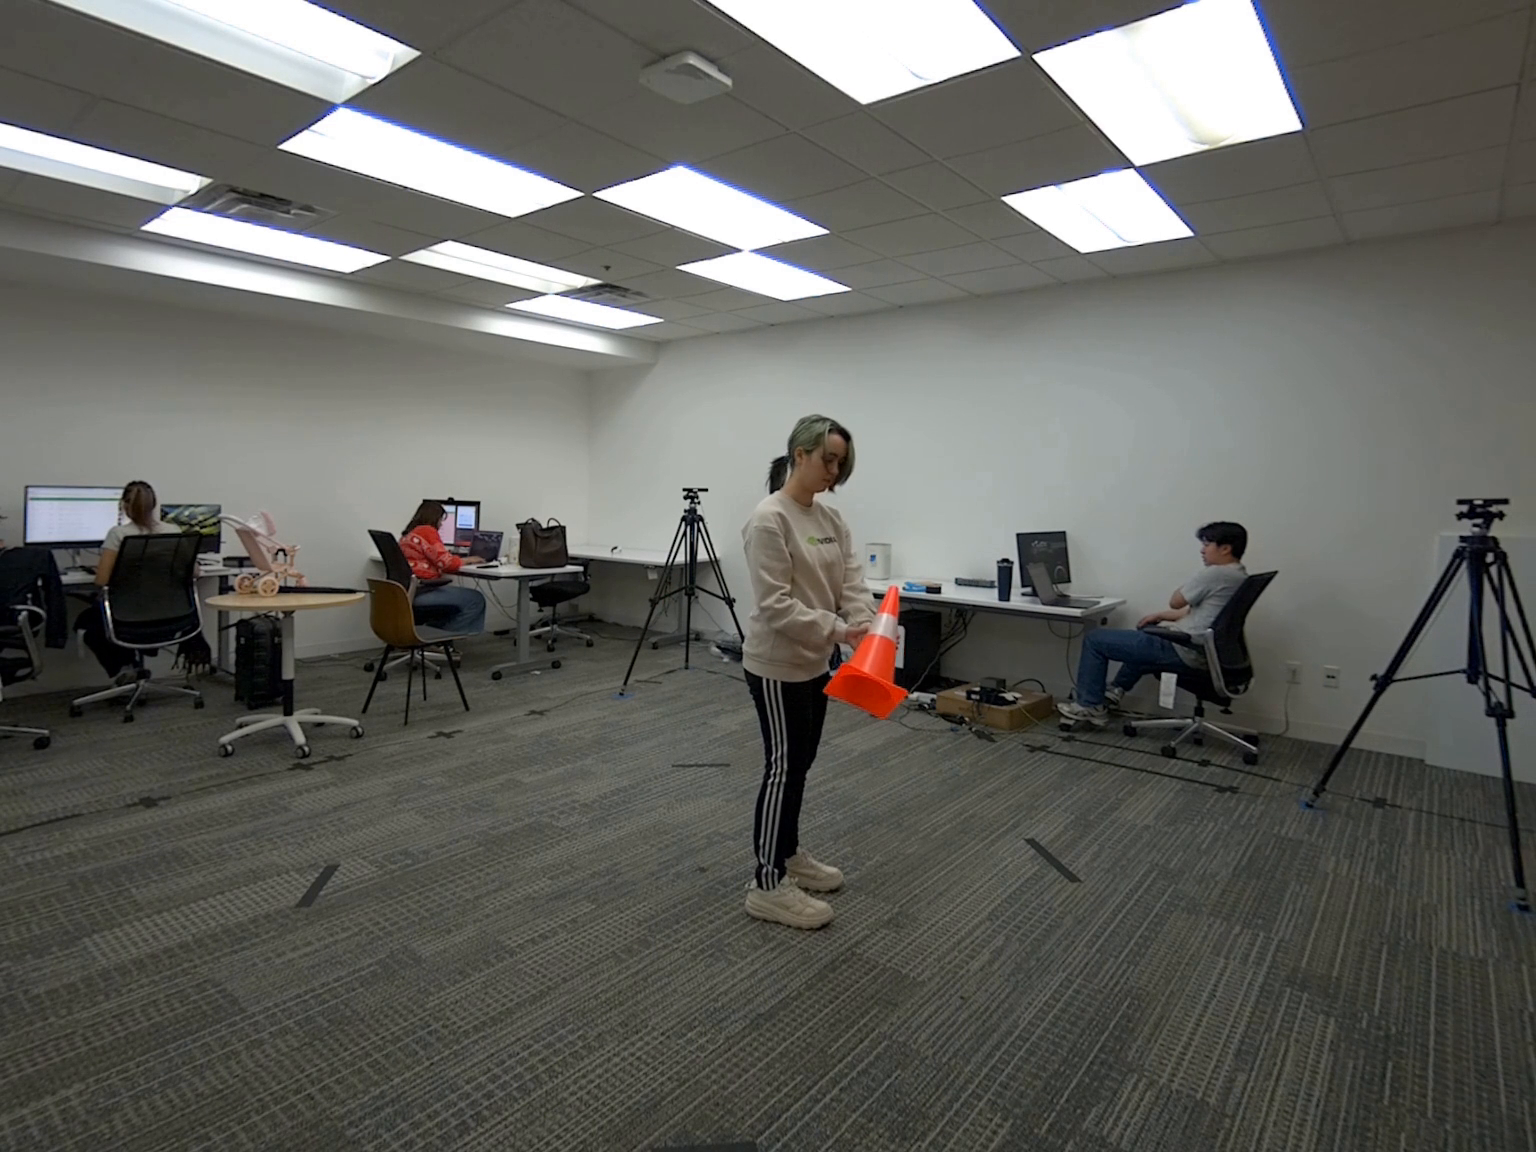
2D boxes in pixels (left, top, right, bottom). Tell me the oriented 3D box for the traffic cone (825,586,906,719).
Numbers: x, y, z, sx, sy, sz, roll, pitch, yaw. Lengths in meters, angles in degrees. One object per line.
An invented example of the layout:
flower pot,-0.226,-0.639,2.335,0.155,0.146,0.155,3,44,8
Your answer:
traffic cone,0.333,0.186,2.543,0.207,0.388,0.199,20,-34,4
